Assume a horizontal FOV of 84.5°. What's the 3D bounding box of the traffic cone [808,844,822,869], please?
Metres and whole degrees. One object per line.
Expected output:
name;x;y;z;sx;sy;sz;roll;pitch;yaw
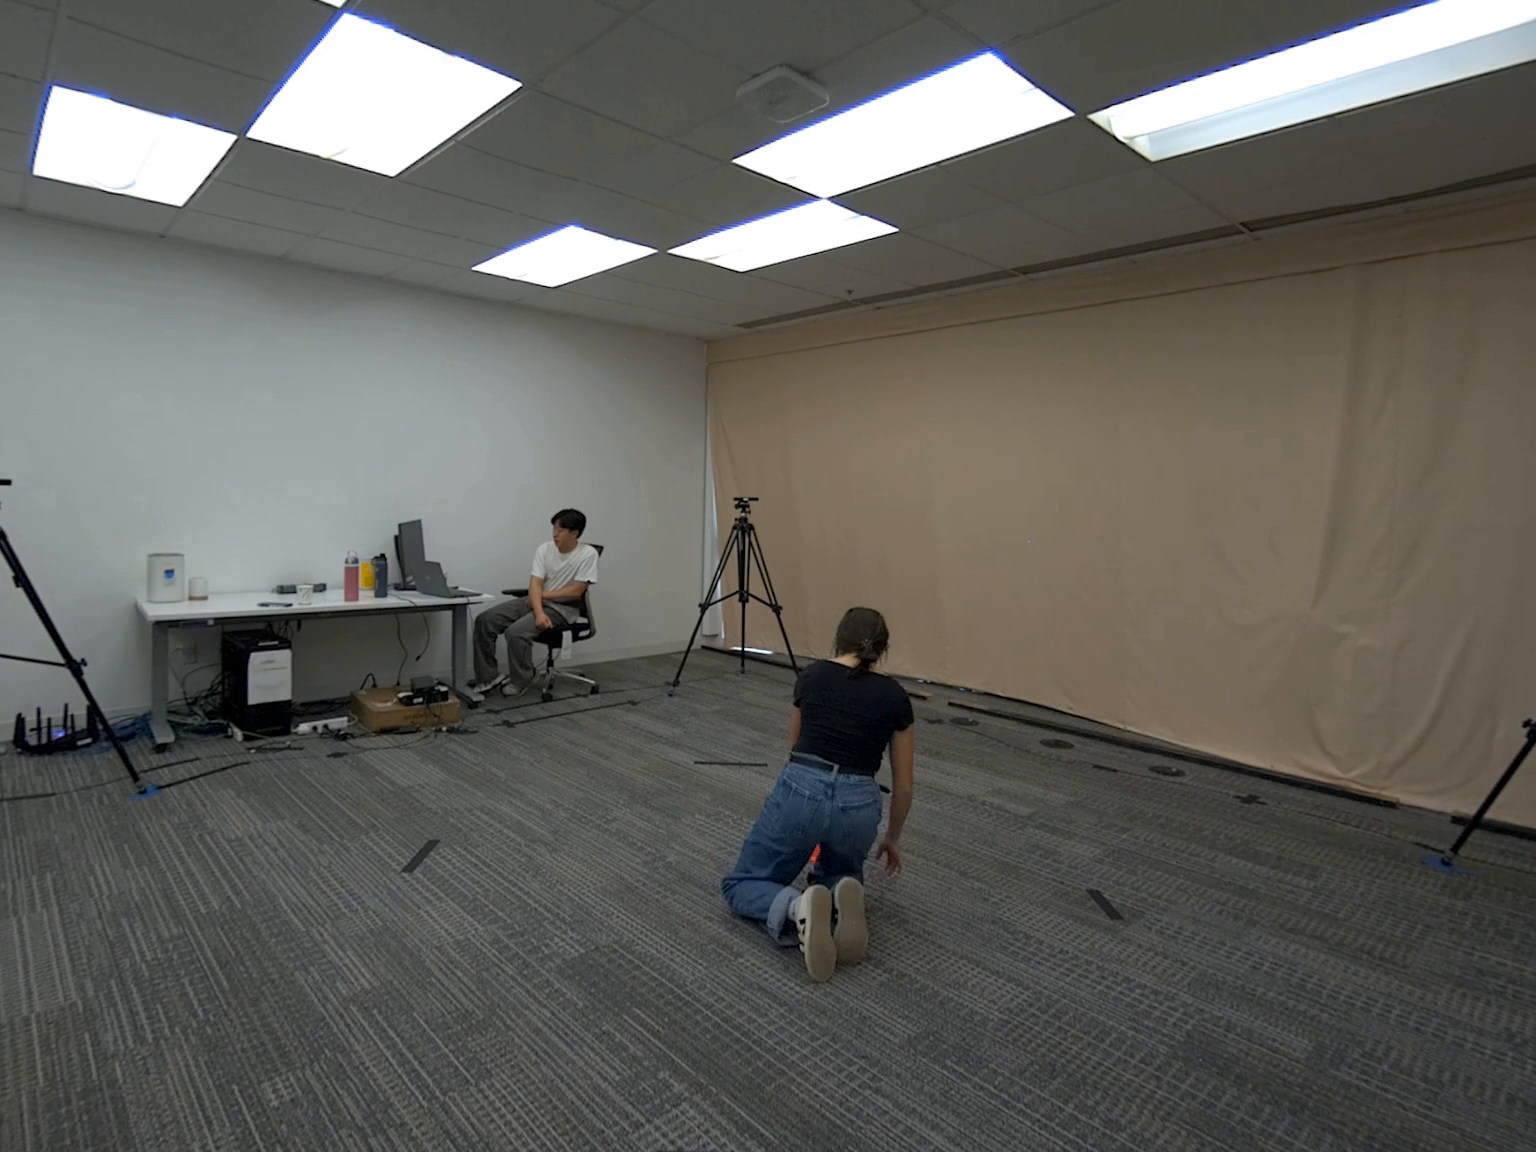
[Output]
traffic cone;0.211;0.914;3.324;0.210;0.383;0.199;4;4;44
